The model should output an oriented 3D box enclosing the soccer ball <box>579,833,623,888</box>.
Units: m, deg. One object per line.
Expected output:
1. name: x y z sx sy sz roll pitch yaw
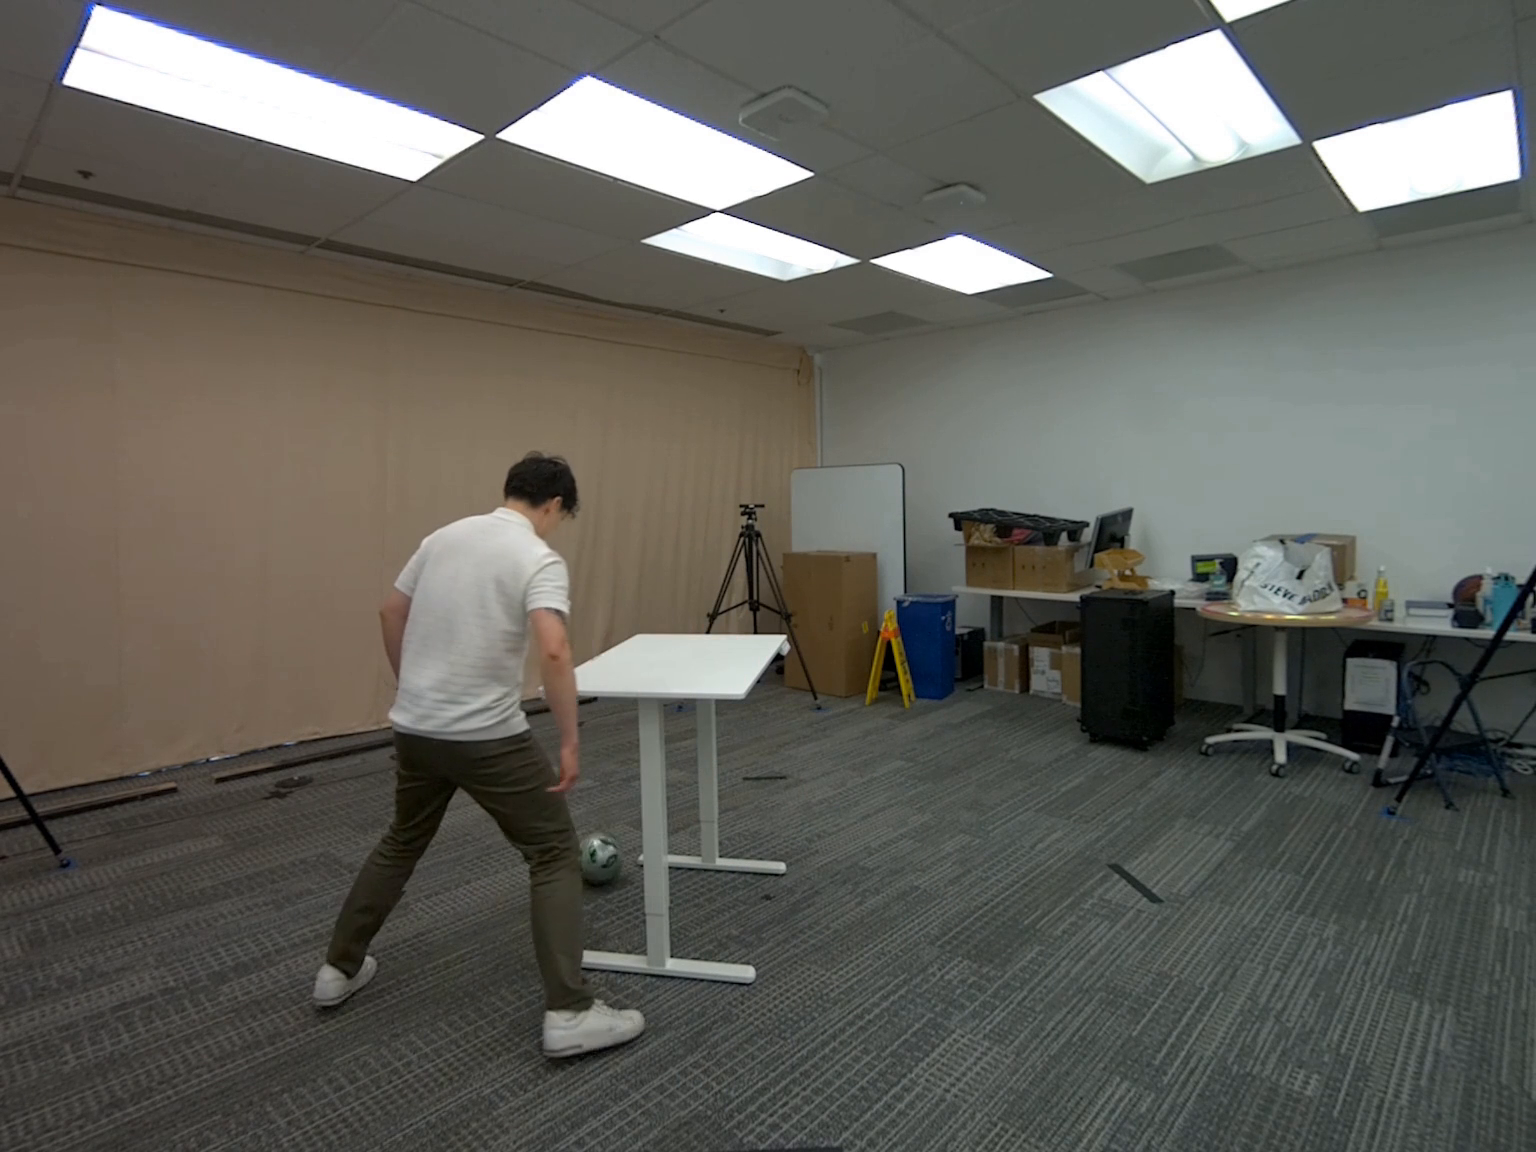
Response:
1. soccer ball: -0.630 1.050 3.128 0.187 0.187 0.188 -1 4 -2
